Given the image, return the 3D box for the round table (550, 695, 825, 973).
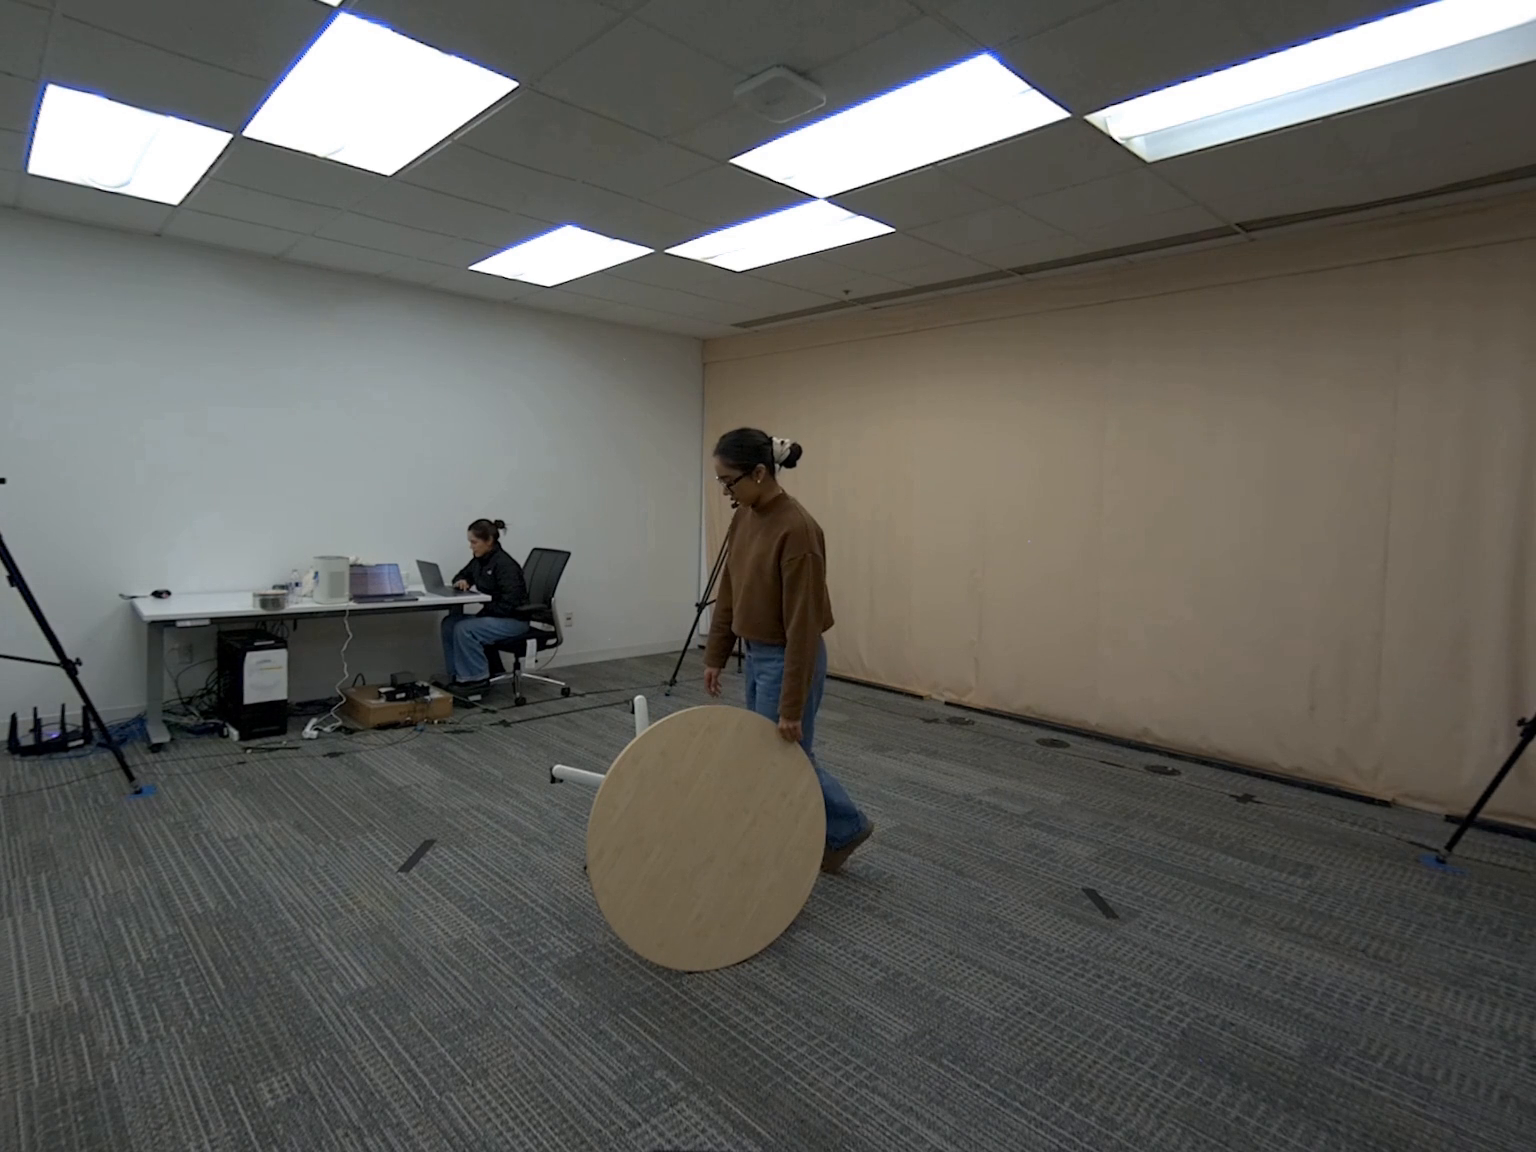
[{"bbox_3d":[-0.340,0.789,2.870,0.750,0.766,0.806,-1,-3,-25],"label":"round table"}]
